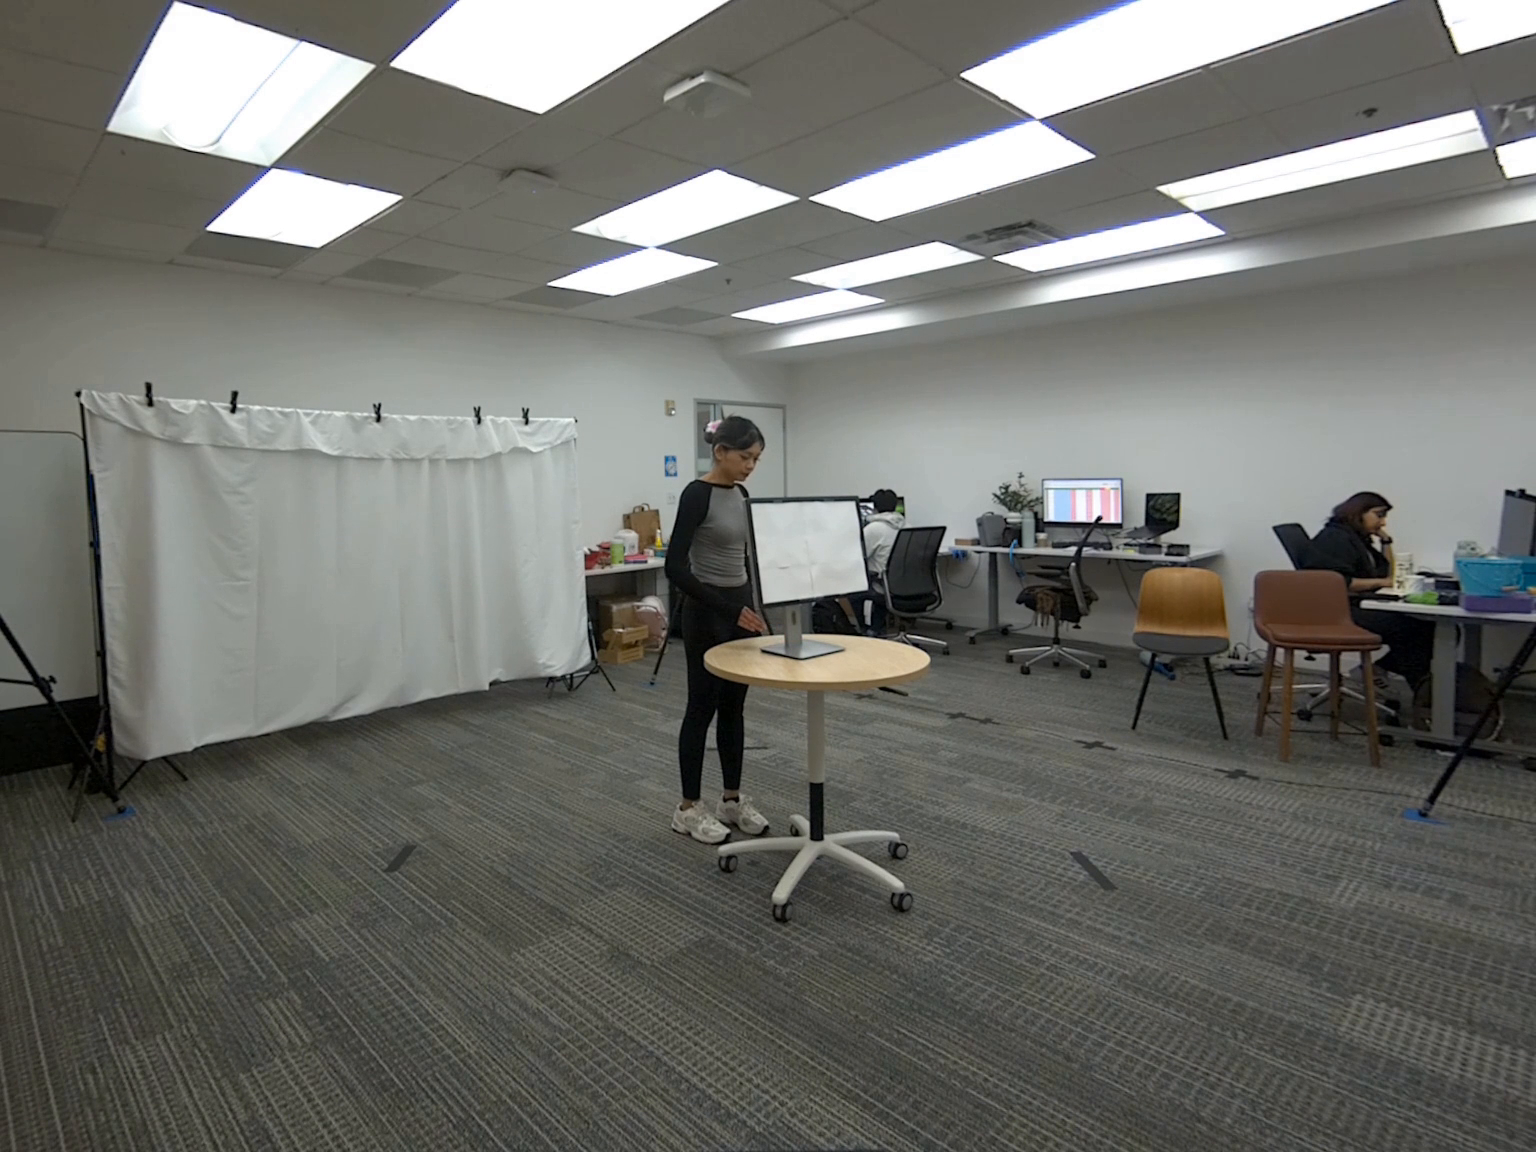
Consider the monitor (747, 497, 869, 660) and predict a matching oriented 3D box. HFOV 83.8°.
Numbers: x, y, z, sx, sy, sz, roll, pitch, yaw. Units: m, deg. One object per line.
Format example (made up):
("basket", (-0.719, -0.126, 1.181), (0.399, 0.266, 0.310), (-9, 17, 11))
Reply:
("monitor", (0.121, -0.001, 2.985), (0.525, 0.520, 0.193), (-5, 8, -44))
